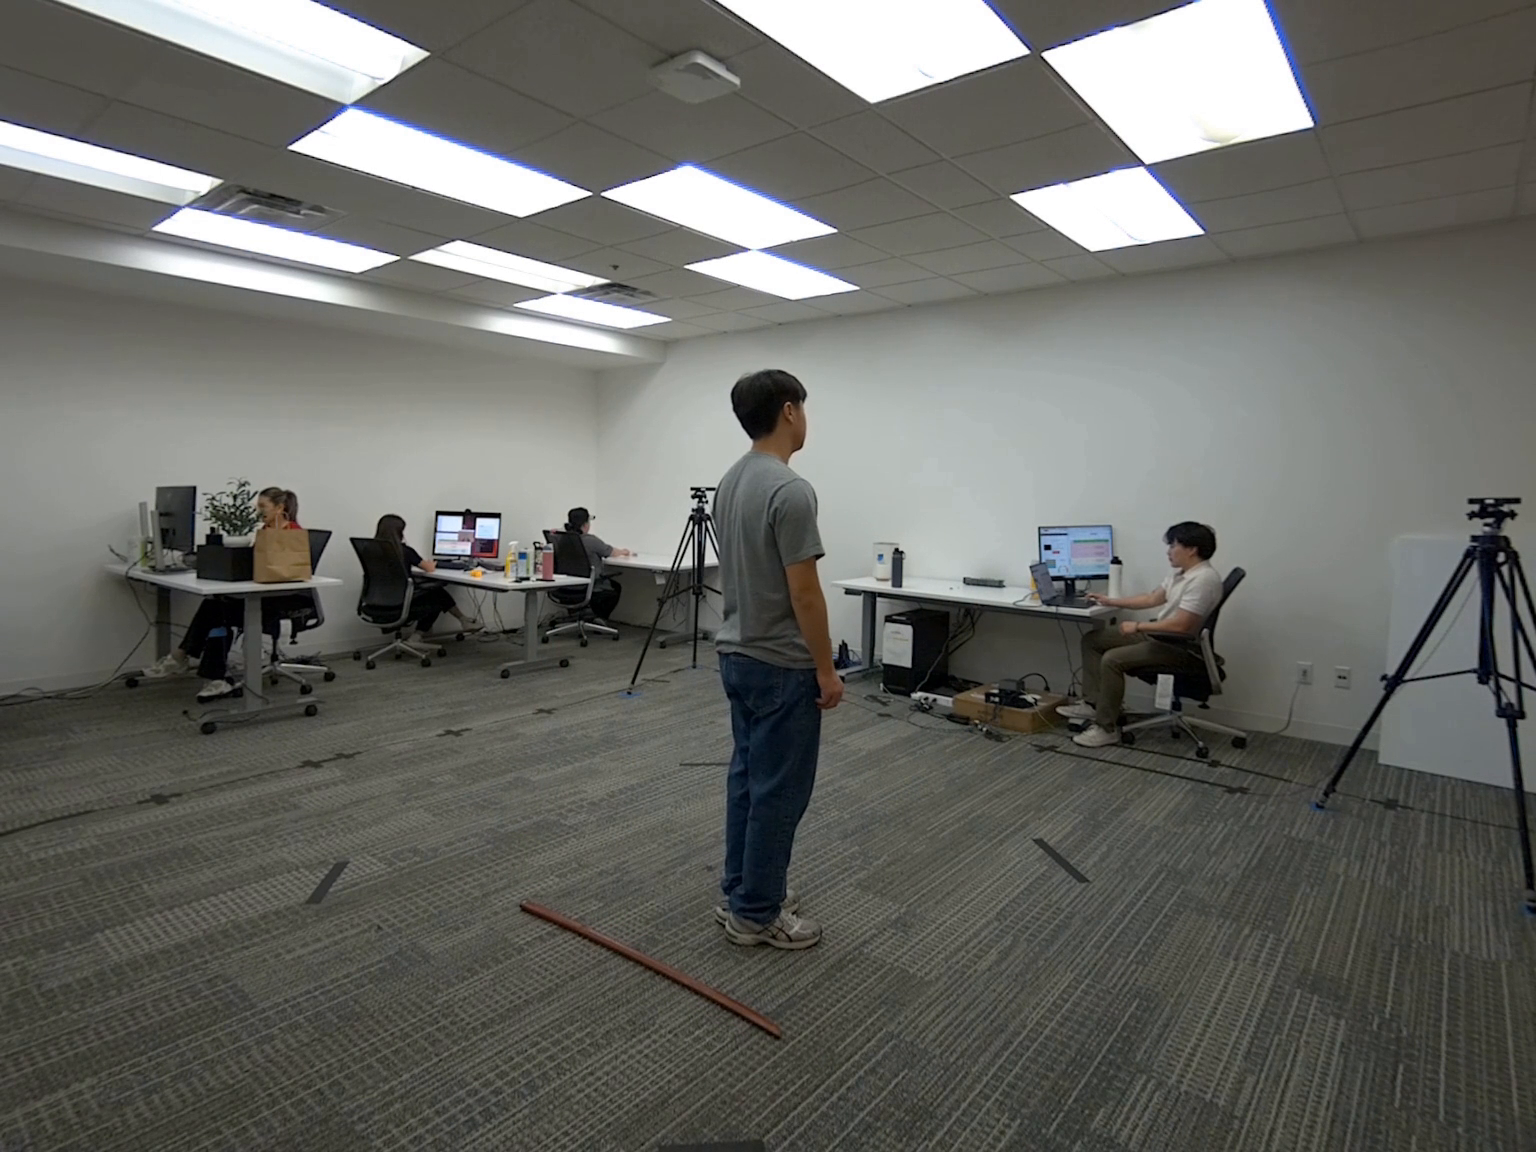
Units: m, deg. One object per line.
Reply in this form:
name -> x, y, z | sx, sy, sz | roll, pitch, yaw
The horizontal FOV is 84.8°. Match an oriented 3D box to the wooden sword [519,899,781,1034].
wooden sword -> -0.373, 1.099, 2.485 | 1.059, 0.024, 0.050 | 5, 4, 37
